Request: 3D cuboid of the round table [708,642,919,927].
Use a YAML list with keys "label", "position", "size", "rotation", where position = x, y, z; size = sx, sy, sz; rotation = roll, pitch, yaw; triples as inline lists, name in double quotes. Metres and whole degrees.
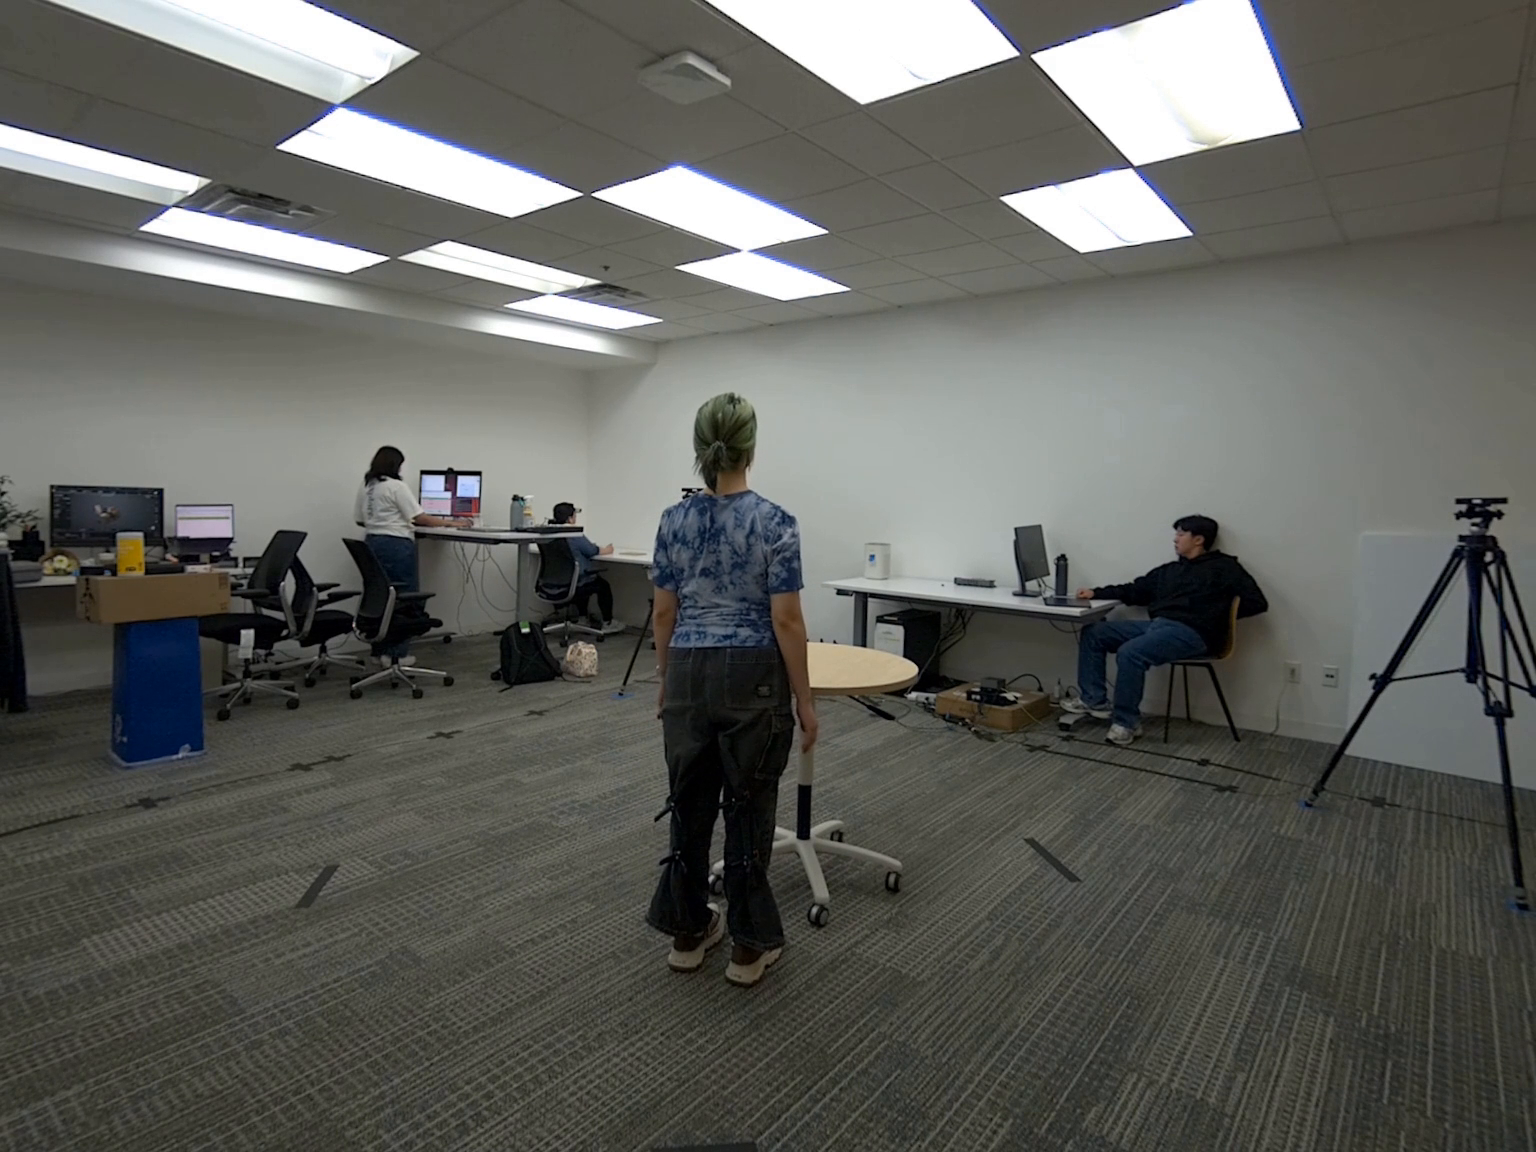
- label: "round table"
  position: [0.130, 0.698, 3.054]
  size: [0.763, 0.791, 0.768]
  rotation: [1, 4, -2]
